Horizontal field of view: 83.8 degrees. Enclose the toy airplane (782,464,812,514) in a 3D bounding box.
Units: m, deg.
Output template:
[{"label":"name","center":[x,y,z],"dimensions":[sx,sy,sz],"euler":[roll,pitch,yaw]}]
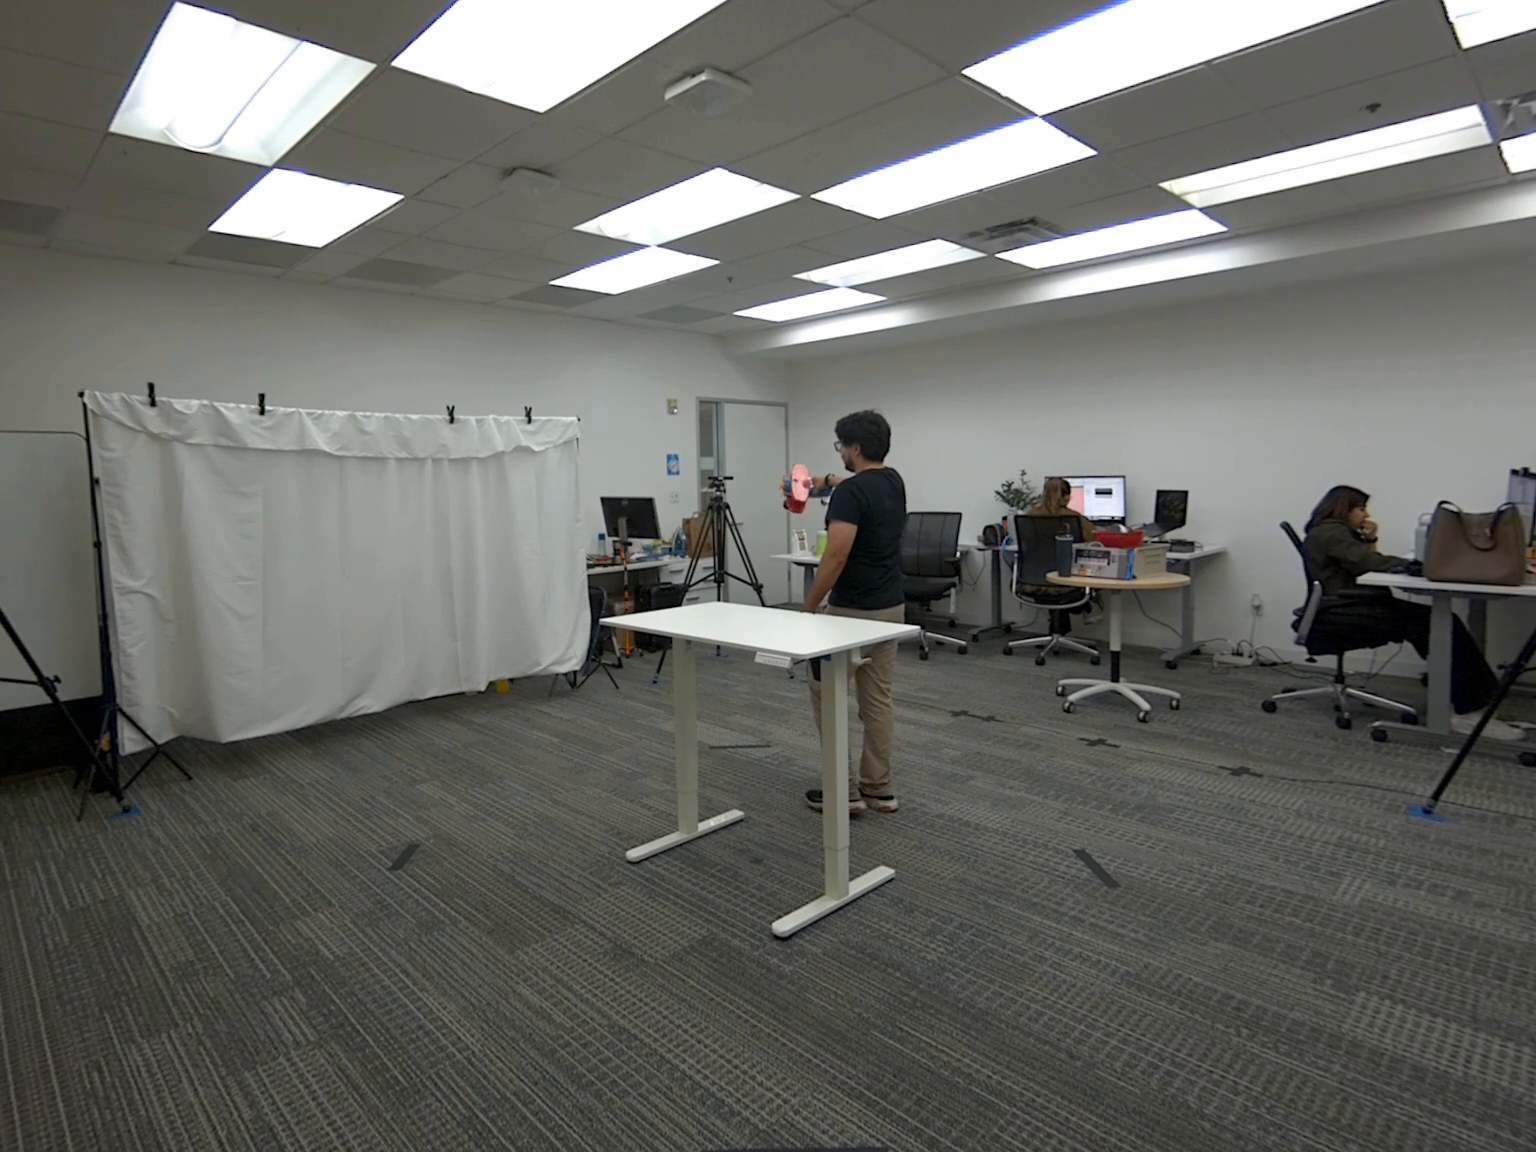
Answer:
[{"label":"toy airplane","center":[0.188,-0.431,4.232],"dimensions":[0.257,0.152,0.260],"euler":[-22,53,-14]}]
